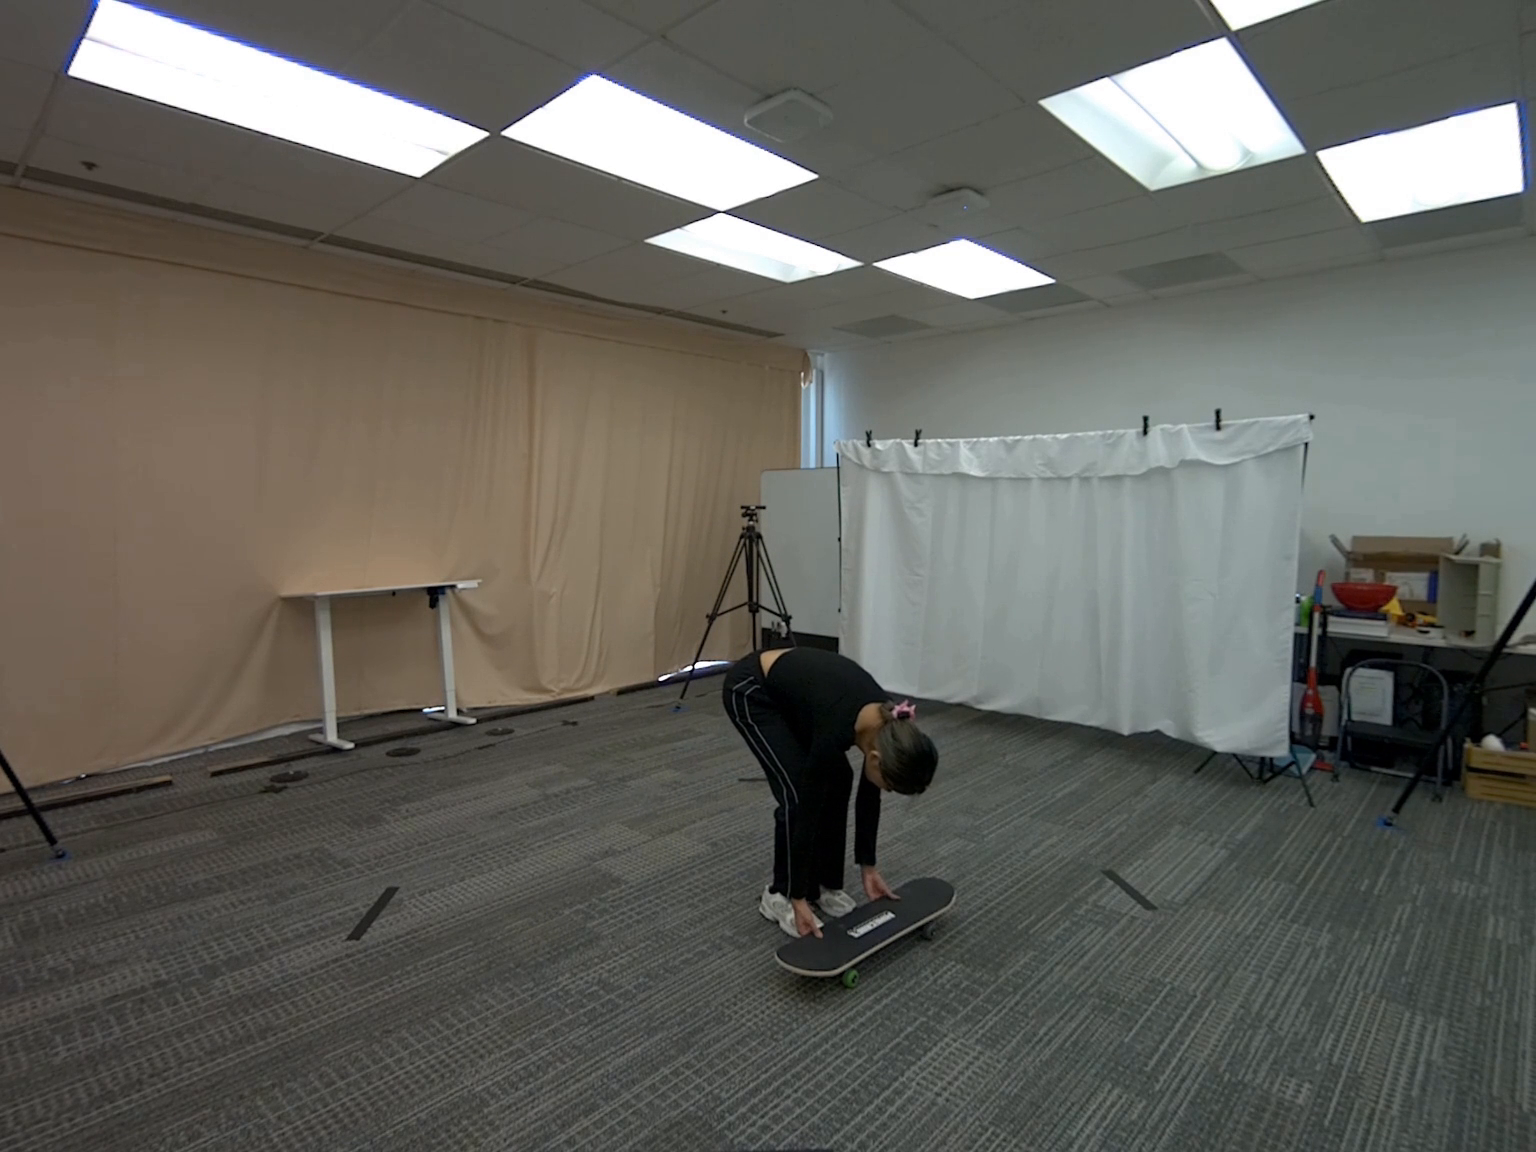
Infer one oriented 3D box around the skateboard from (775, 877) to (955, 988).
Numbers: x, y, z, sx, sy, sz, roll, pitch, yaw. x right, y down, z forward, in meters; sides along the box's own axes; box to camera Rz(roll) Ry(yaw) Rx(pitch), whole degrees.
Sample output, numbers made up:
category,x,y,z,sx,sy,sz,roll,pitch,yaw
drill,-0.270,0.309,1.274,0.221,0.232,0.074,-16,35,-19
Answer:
category,x,y,z,sx,sy,sz,roll,pitch,yaw
skateboard,0.334,1.120,2.616,0.762,0.110,0.200,-5,7,-44
